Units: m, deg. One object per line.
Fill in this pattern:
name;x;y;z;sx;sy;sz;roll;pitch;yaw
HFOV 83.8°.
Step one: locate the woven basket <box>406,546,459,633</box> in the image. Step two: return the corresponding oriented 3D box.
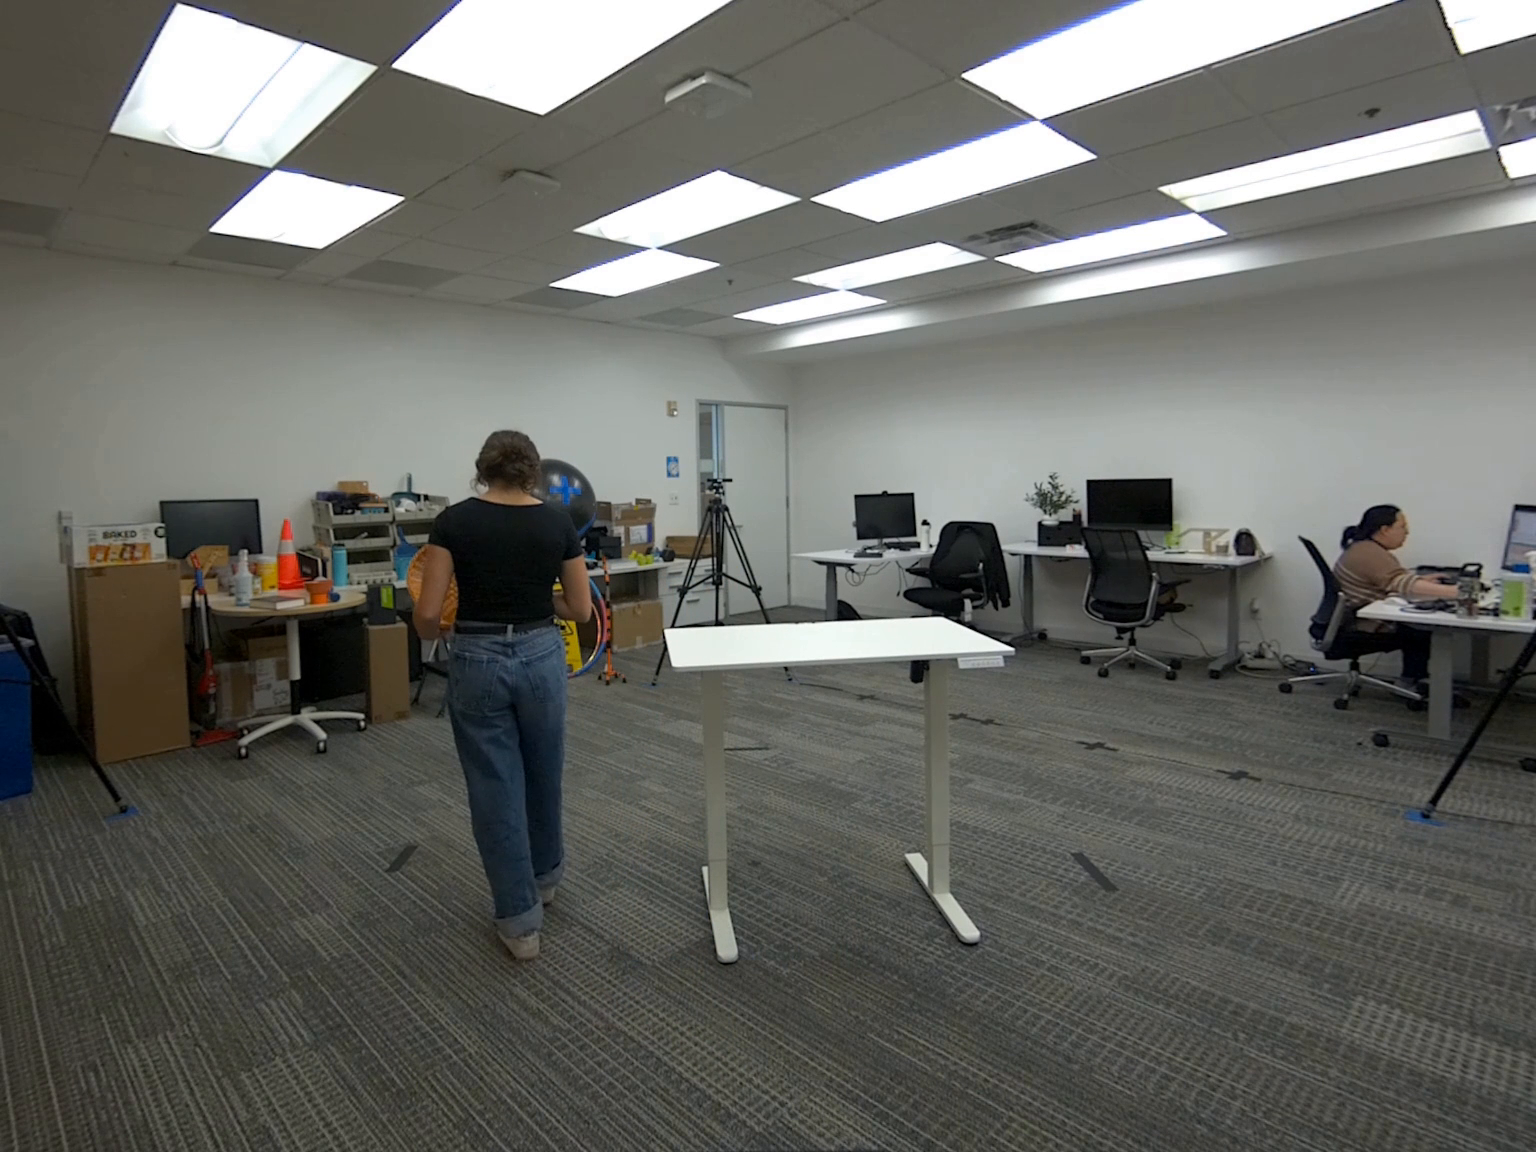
woven basket;-1.006;0.035;2.735;0.252;0.362;0.071;-31;-29;-7
